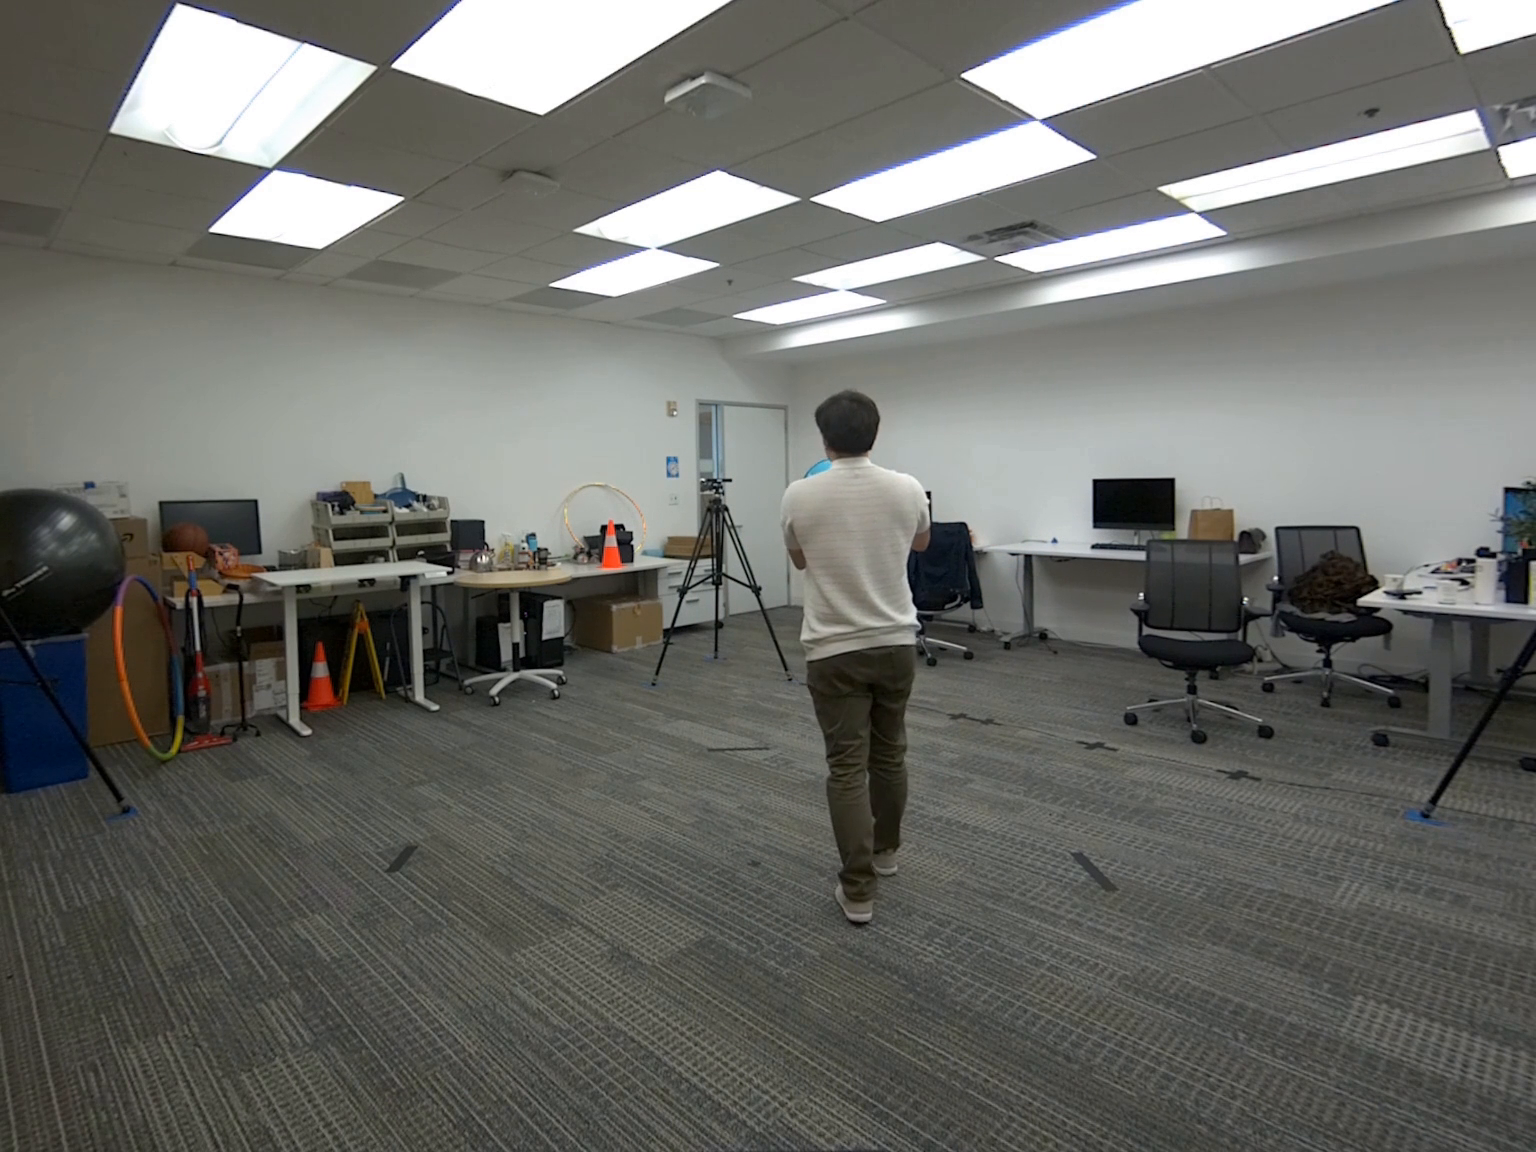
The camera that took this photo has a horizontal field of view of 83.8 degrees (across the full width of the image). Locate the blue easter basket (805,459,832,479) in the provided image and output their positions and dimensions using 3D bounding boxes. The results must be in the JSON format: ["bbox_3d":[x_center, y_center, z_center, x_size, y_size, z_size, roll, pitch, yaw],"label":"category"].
[{"bbox_3d":[0.268,-0.323,3.317,0.239,0.239,0.161,-2,25,-19],"label":"blue easter basket"}]
